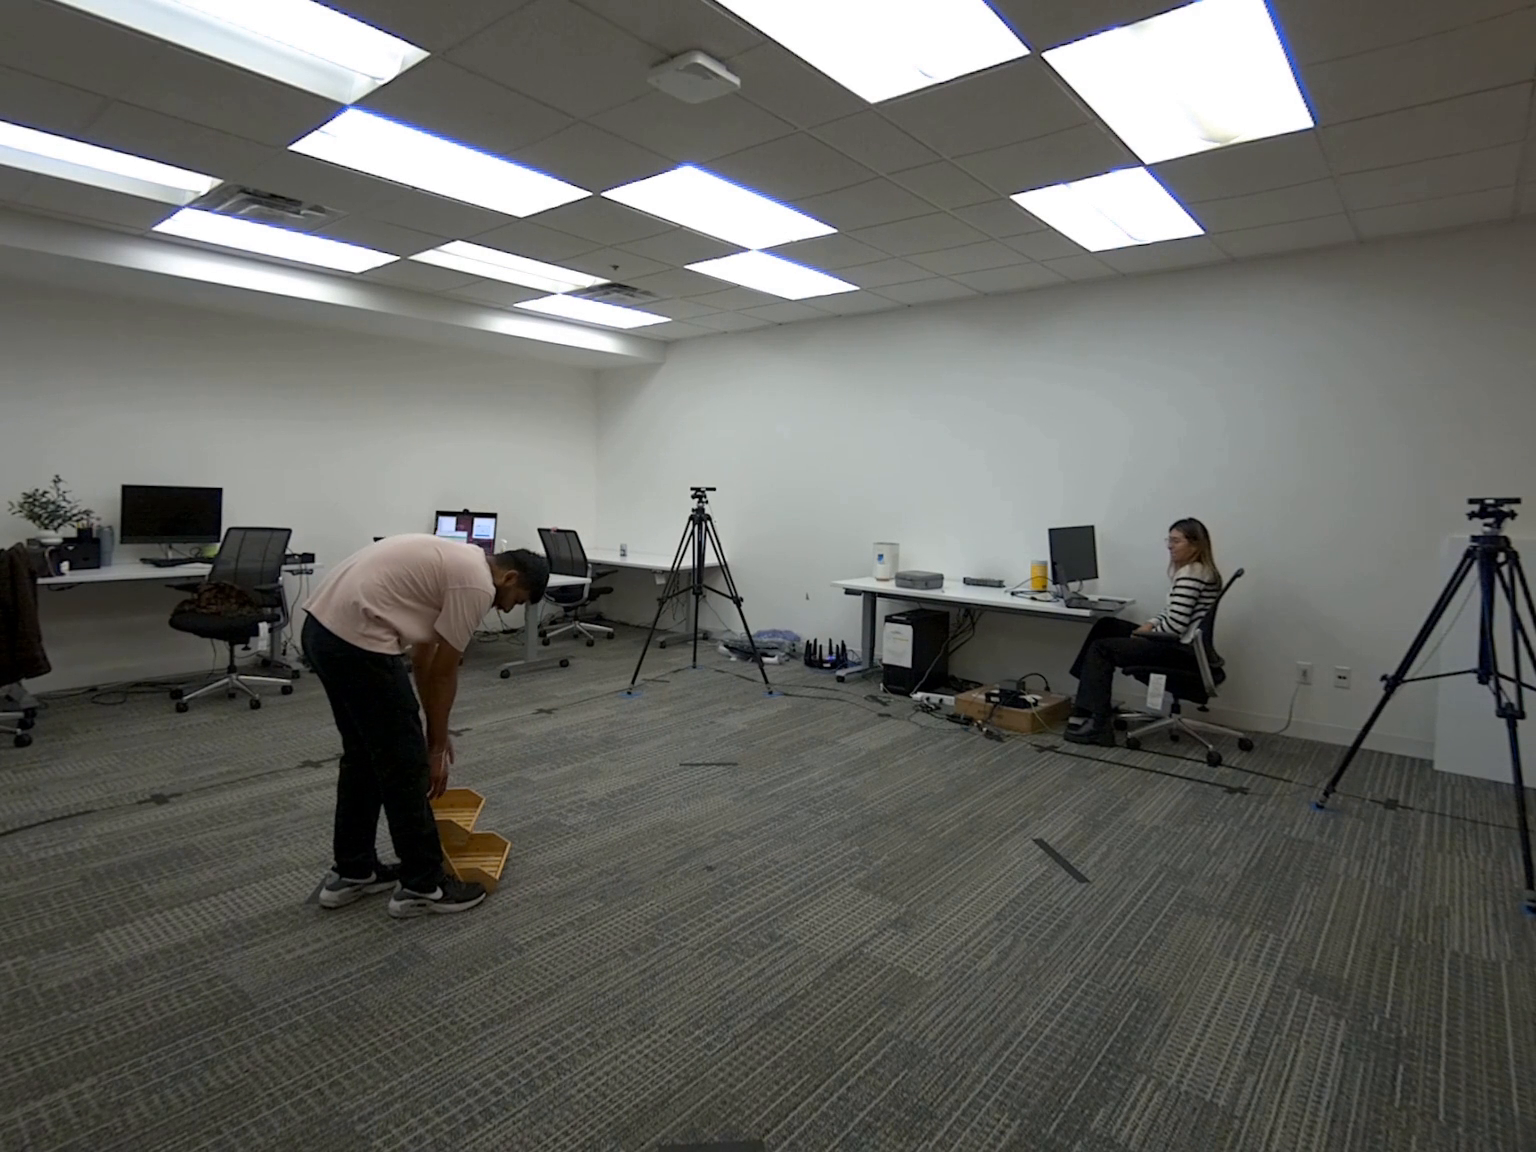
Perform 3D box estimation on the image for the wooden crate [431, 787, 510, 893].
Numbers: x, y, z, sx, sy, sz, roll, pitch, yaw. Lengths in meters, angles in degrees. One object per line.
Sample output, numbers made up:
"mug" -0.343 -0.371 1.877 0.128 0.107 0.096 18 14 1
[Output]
"wooden crate" -1.097 0.929 3.019 0.300 0.272 0.328 -1 5 -8
